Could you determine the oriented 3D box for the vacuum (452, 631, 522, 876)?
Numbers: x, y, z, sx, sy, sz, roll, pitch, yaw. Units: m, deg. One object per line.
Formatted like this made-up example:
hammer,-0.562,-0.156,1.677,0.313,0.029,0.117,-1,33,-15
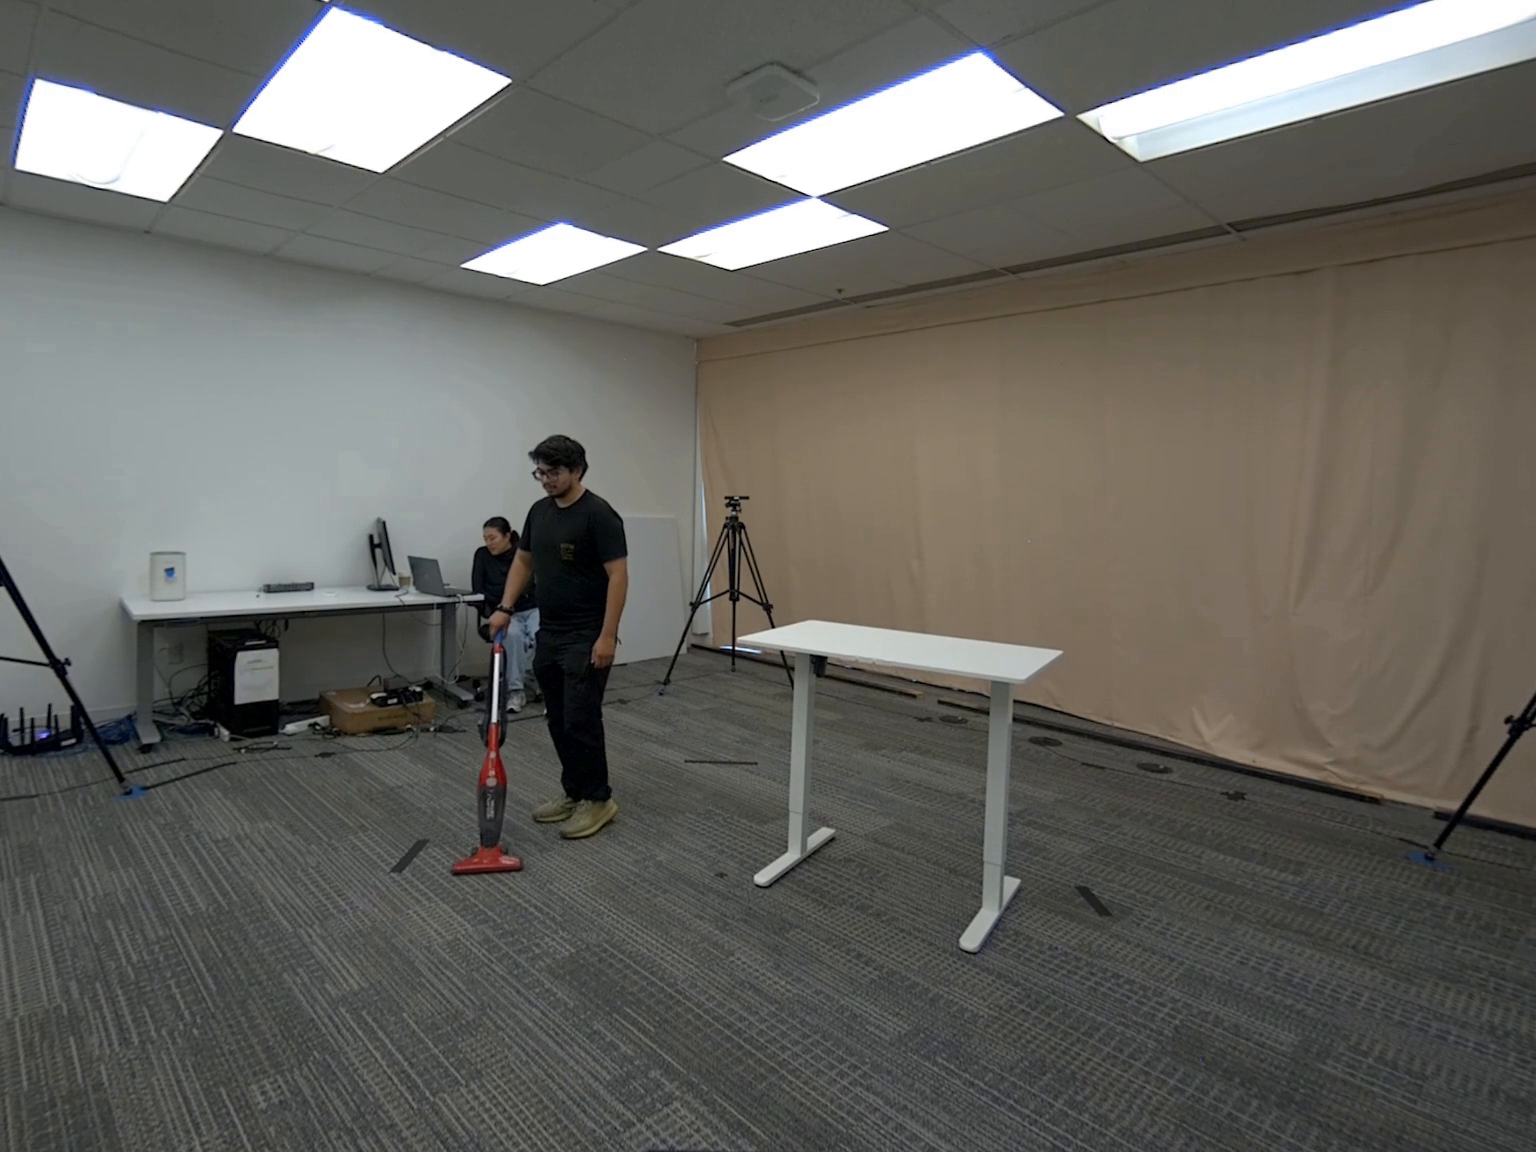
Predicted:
vacuum,-1.100,0.615,3.380,0.249,1.071,0.143,2,-29,-15
